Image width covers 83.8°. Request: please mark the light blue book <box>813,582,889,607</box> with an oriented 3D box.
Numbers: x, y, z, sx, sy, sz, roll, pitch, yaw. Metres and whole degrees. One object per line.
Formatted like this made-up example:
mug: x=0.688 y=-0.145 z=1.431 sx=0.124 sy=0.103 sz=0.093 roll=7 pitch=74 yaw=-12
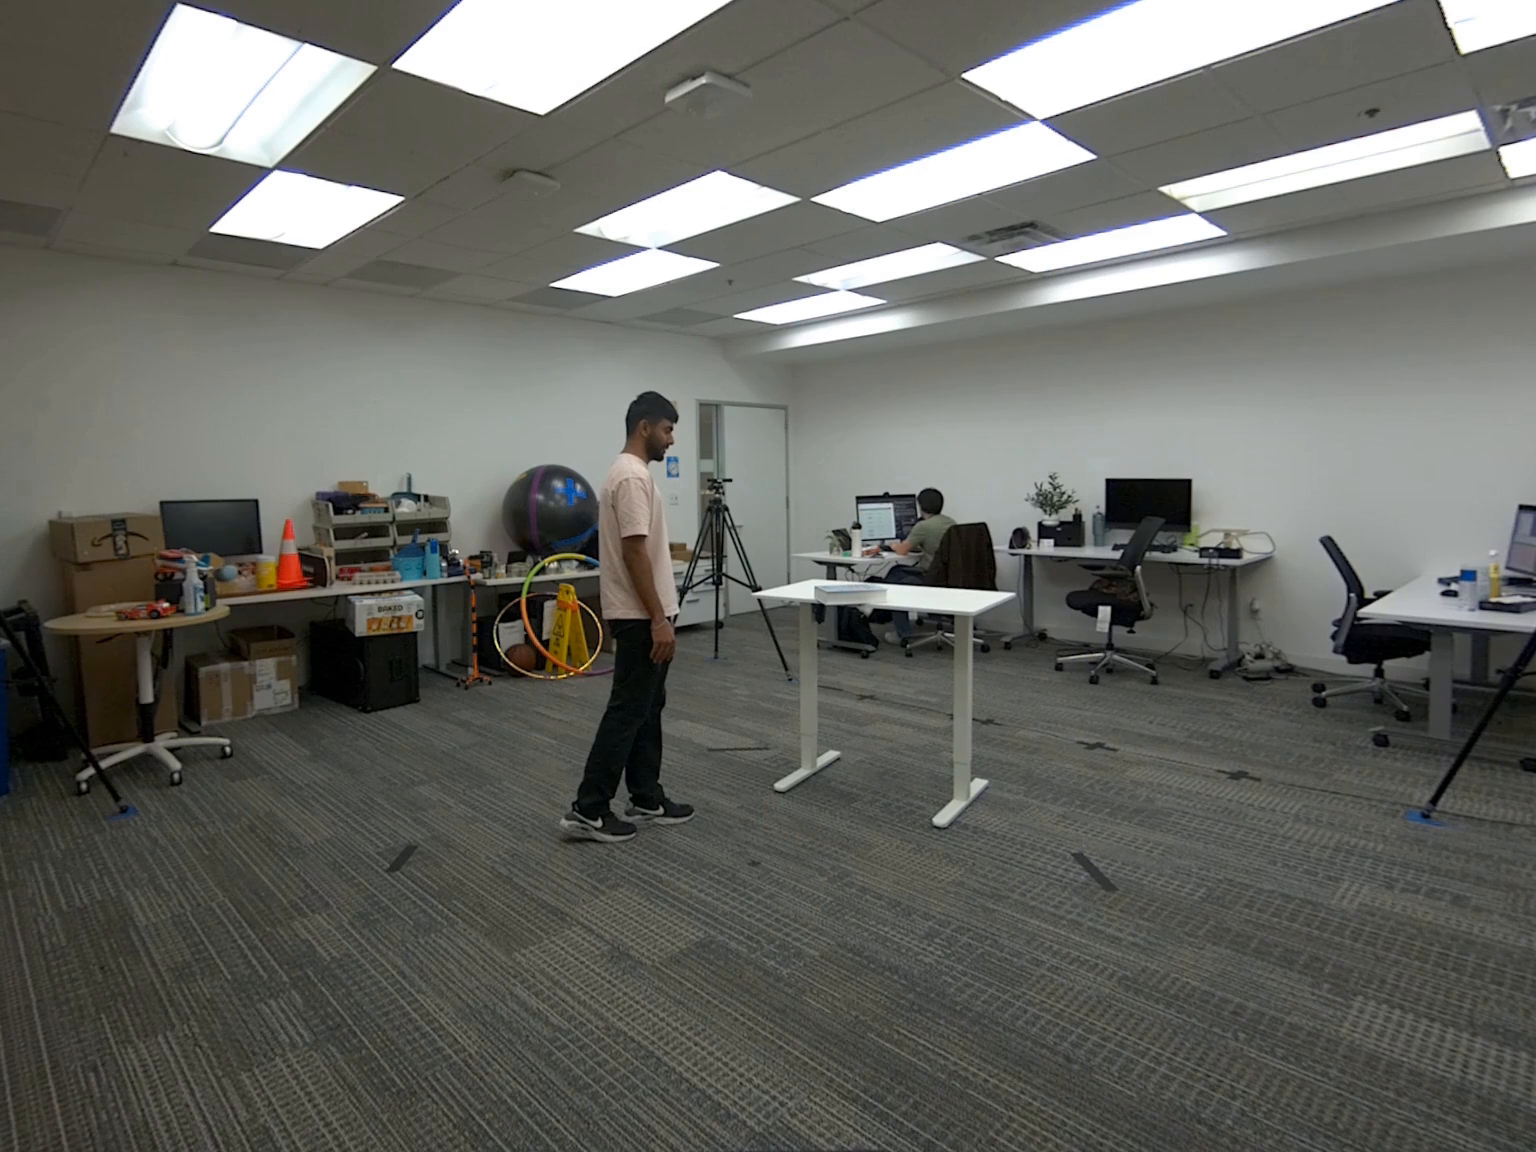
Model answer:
light blue book: x=0.346 y=0.074 z=3.594 sx=0.258 sy=0.059 sz=0.194 roll=-2 pitch=6 yaw=-11
